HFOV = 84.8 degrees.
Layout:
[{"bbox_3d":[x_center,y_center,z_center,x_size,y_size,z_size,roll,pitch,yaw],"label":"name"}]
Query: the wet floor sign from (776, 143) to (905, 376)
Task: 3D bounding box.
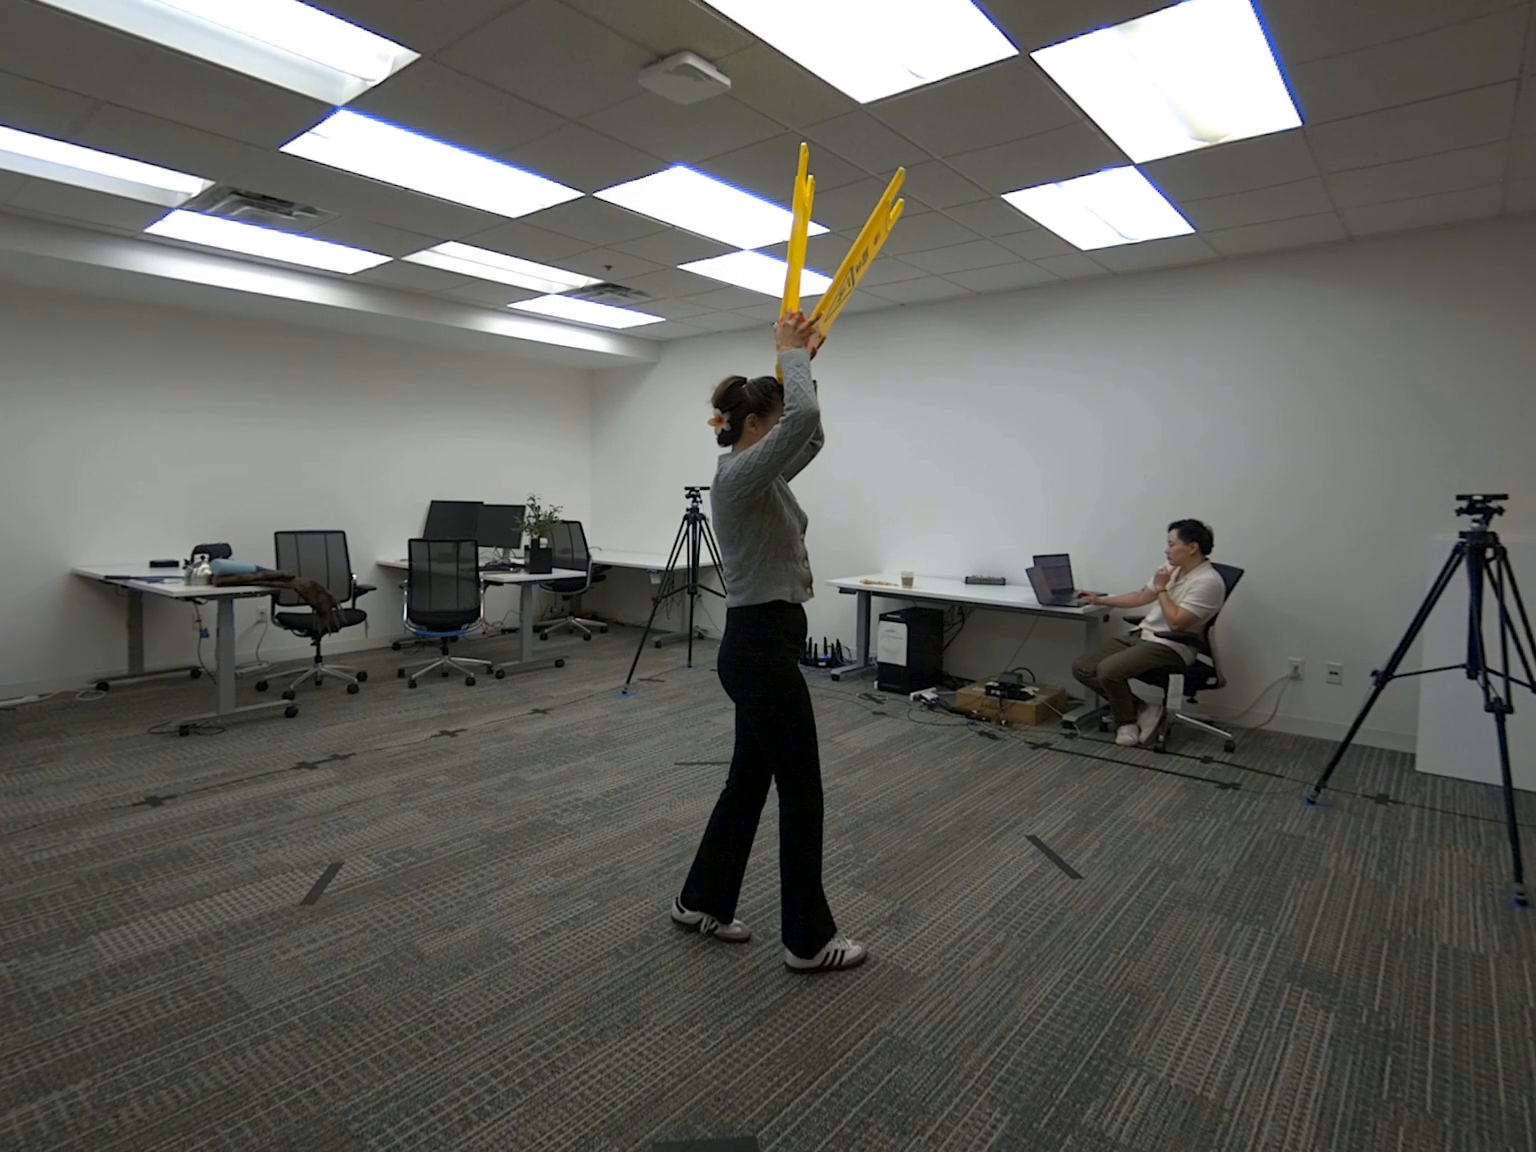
[{"bbox_3d":[0.137,-0.864,2.489,0.294,0.645,0.278,21,2,10],"label":"wet floor sign"}]
